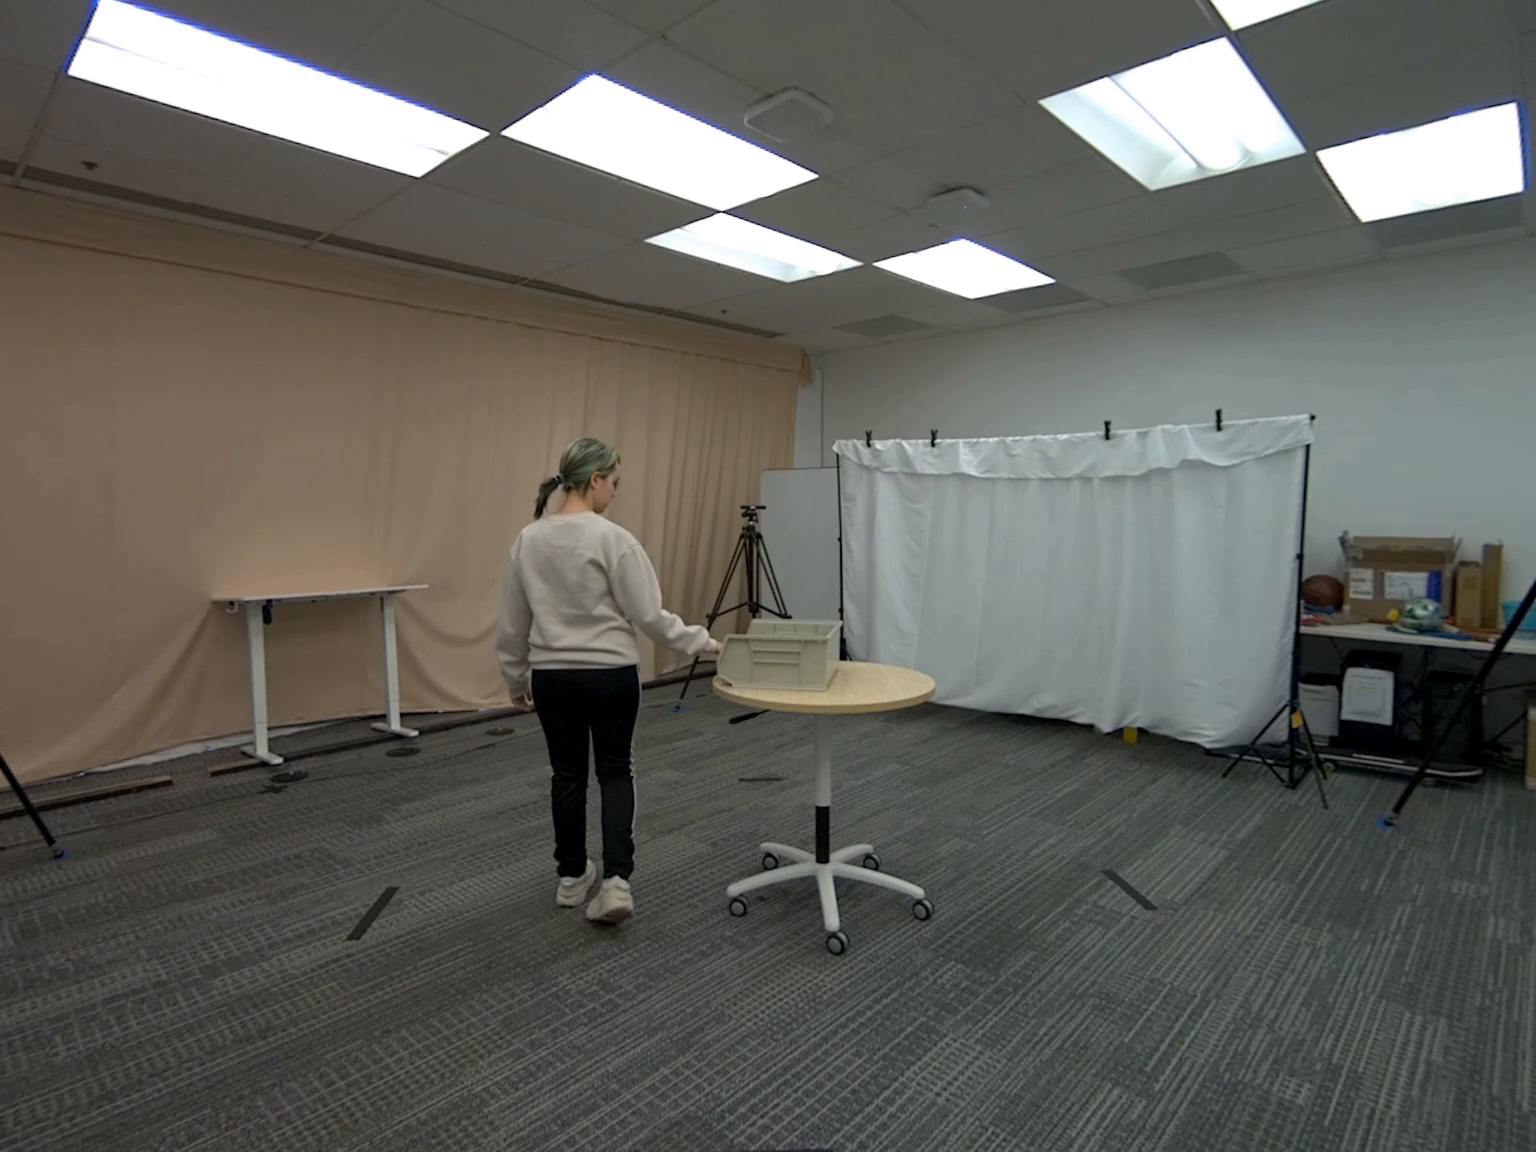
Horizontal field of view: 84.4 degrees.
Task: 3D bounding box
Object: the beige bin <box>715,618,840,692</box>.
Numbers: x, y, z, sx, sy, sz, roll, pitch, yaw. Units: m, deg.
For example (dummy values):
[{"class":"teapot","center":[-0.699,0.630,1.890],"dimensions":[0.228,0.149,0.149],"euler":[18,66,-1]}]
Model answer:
[{"class":"beige bin","center":[0.059,0.270,2.971],"dimensions":[0.383,0.188,0.417],"euler":[3,4,13]}]
